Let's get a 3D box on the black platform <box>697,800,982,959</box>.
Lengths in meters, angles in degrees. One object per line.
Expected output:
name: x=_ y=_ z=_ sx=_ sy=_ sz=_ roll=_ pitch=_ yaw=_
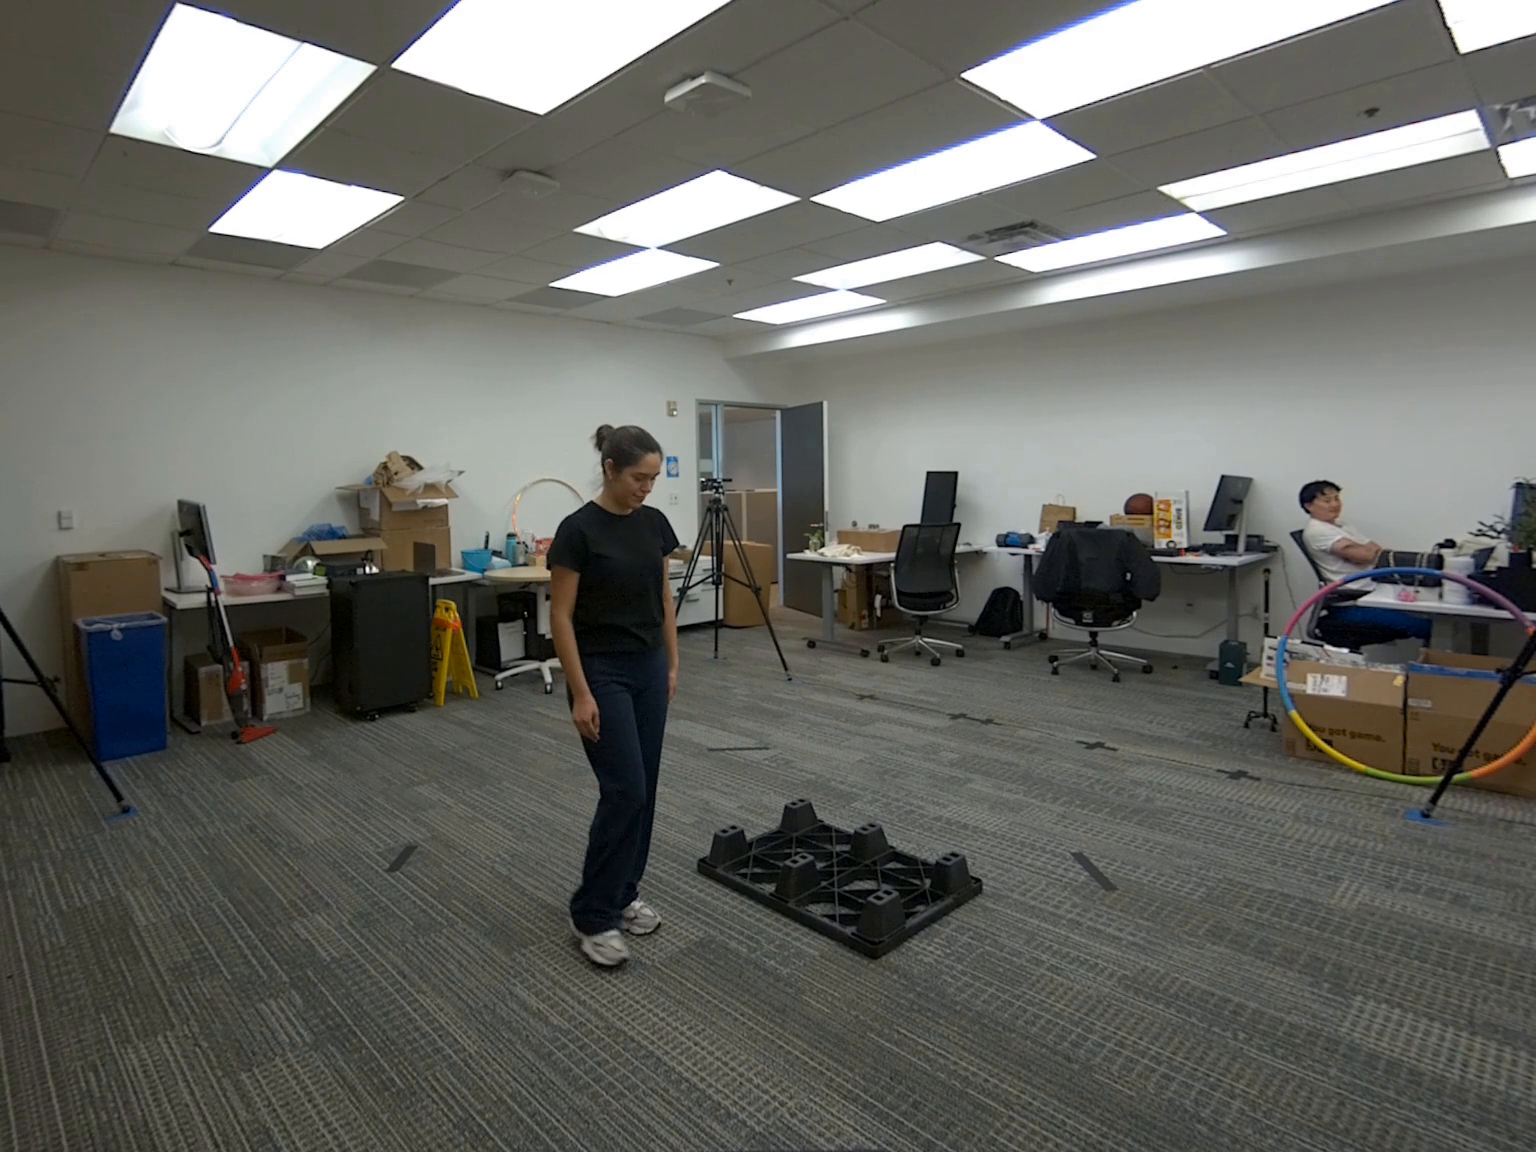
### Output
black platform: x=0.238 y=0.990 z=2.971 sx=0.589 sy=0.142 sz=0.831 roll=-8 pitch=10 yaw=-44
